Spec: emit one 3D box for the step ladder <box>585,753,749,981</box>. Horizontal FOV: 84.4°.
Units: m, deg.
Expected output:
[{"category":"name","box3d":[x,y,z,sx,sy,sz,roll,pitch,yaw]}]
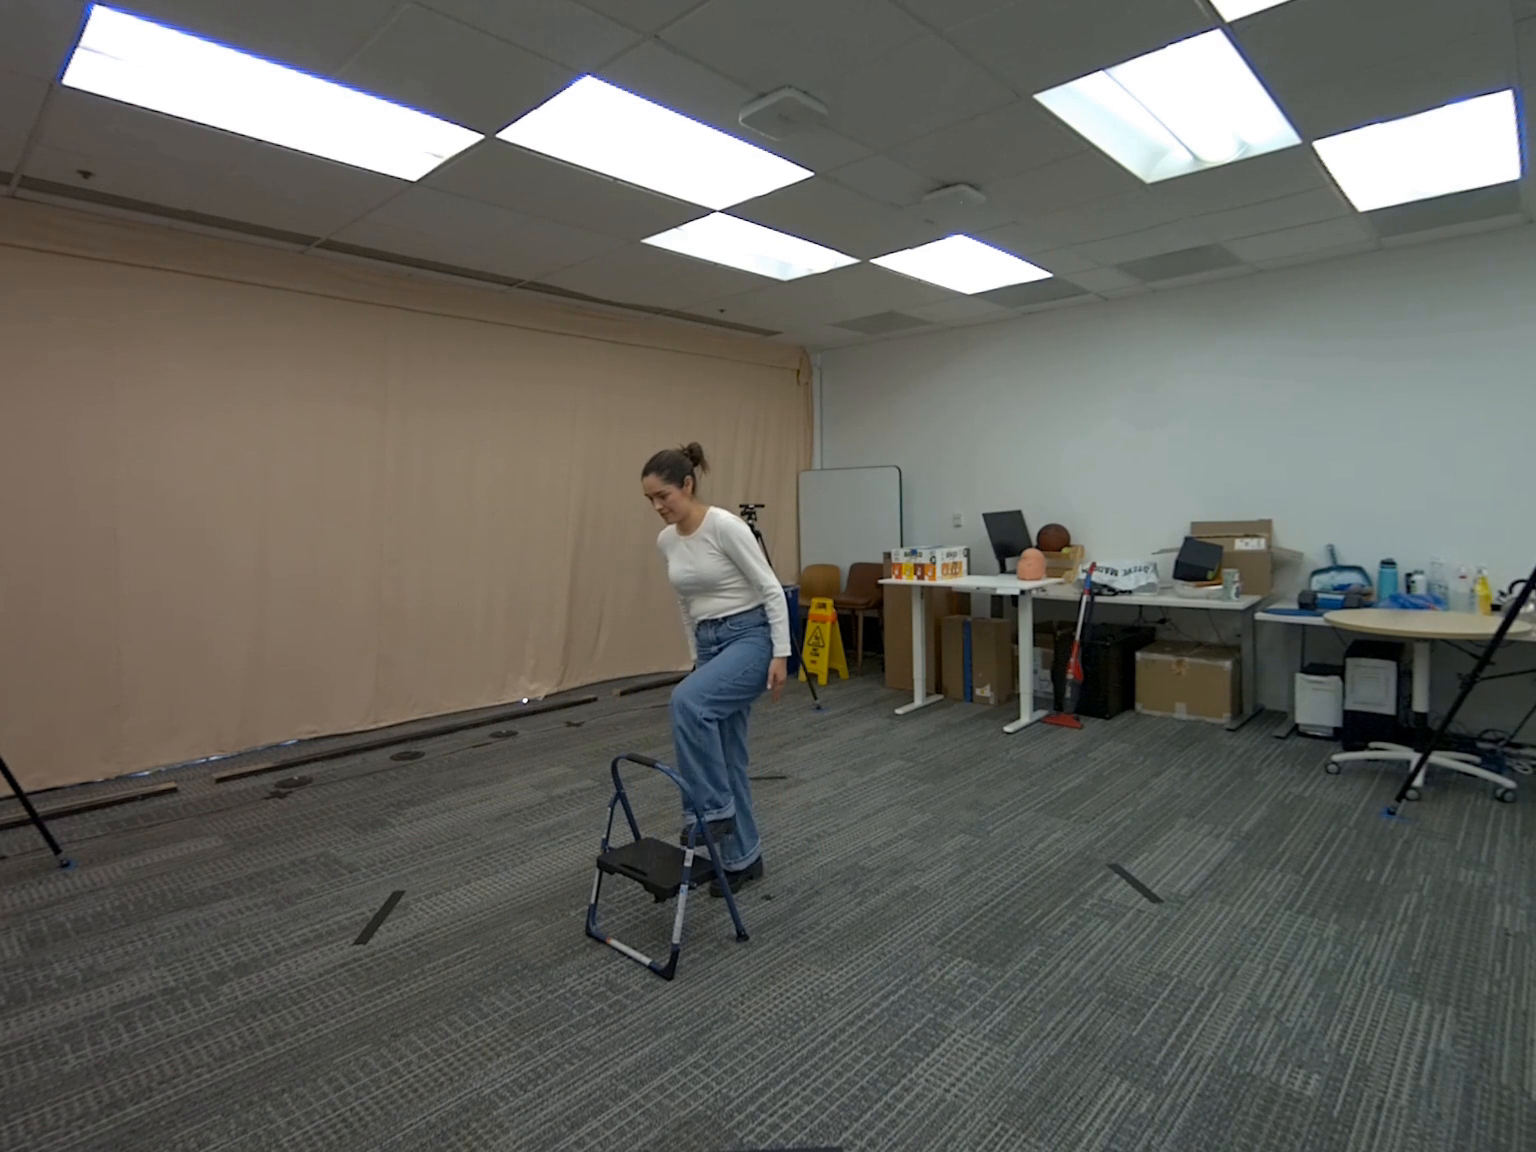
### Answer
[{"category":"step ladder","box3d":[-0.337,0.866,2.716,0.445,0.605,0.339,2,4,42]}]
